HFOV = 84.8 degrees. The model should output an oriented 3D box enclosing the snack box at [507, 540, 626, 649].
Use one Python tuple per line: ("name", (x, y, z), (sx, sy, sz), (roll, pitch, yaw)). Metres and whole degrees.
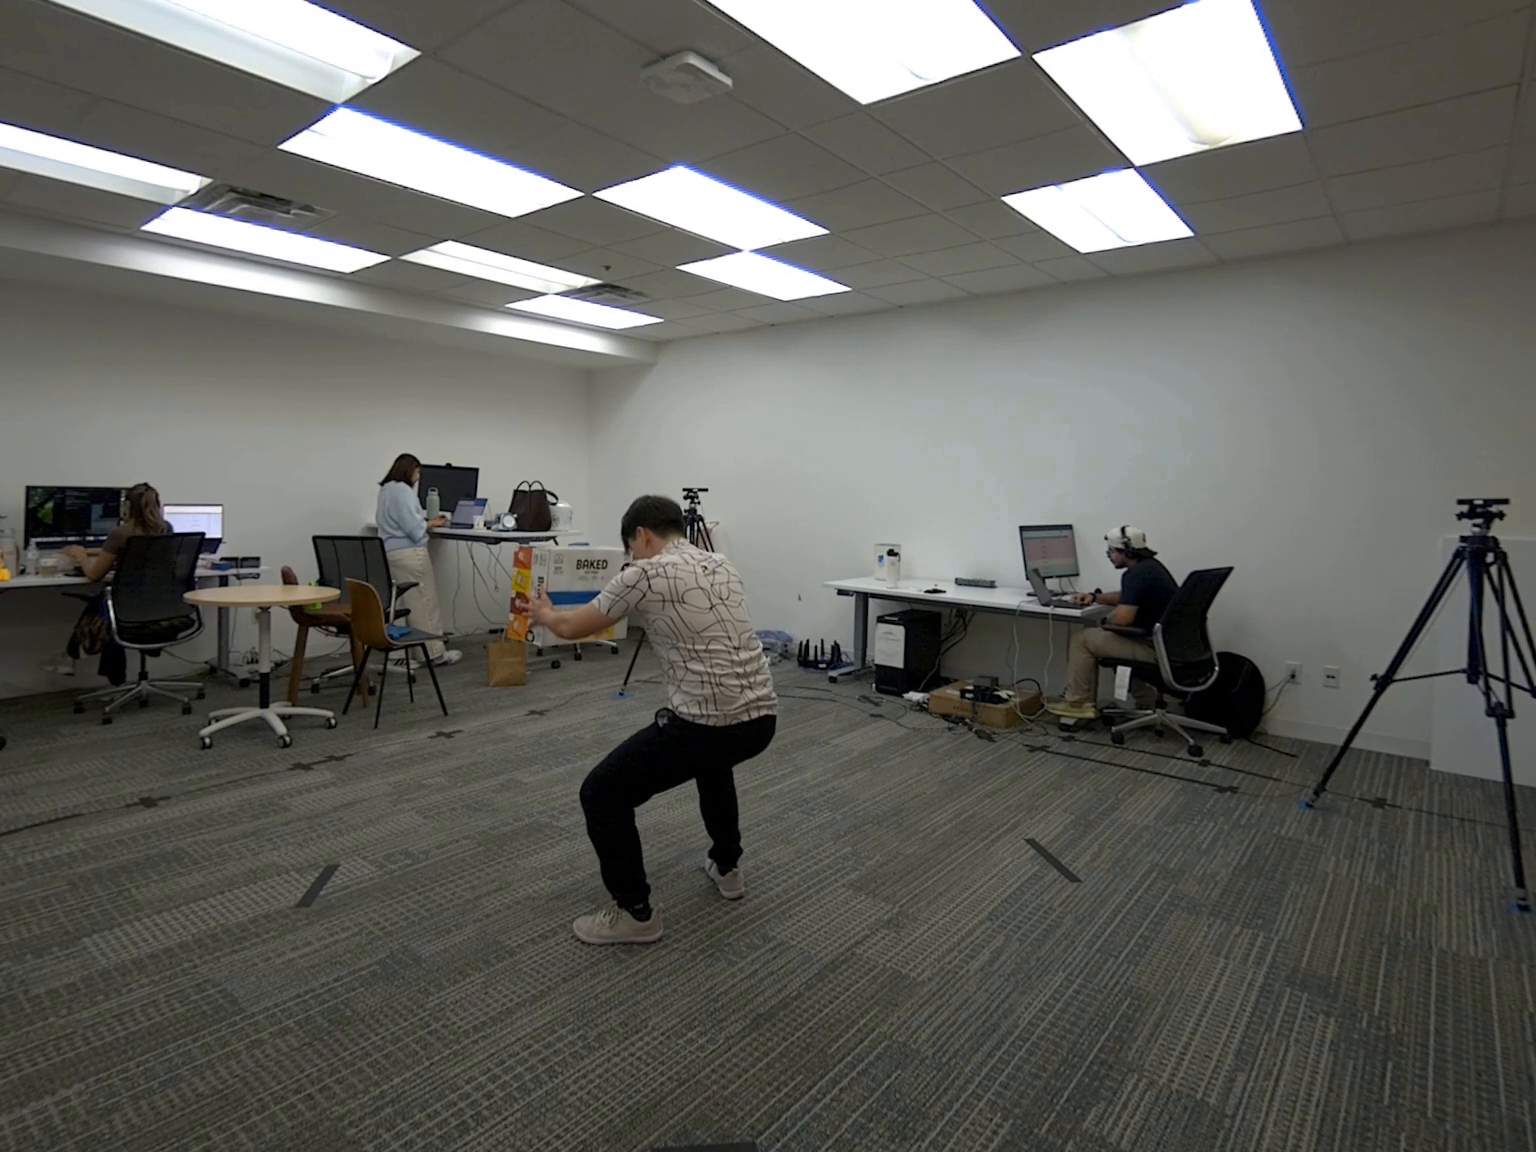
("snack box", (-0.741, 0.060, 3.167), (0.213, 0.340, 0.392), (7, 4, 39))
